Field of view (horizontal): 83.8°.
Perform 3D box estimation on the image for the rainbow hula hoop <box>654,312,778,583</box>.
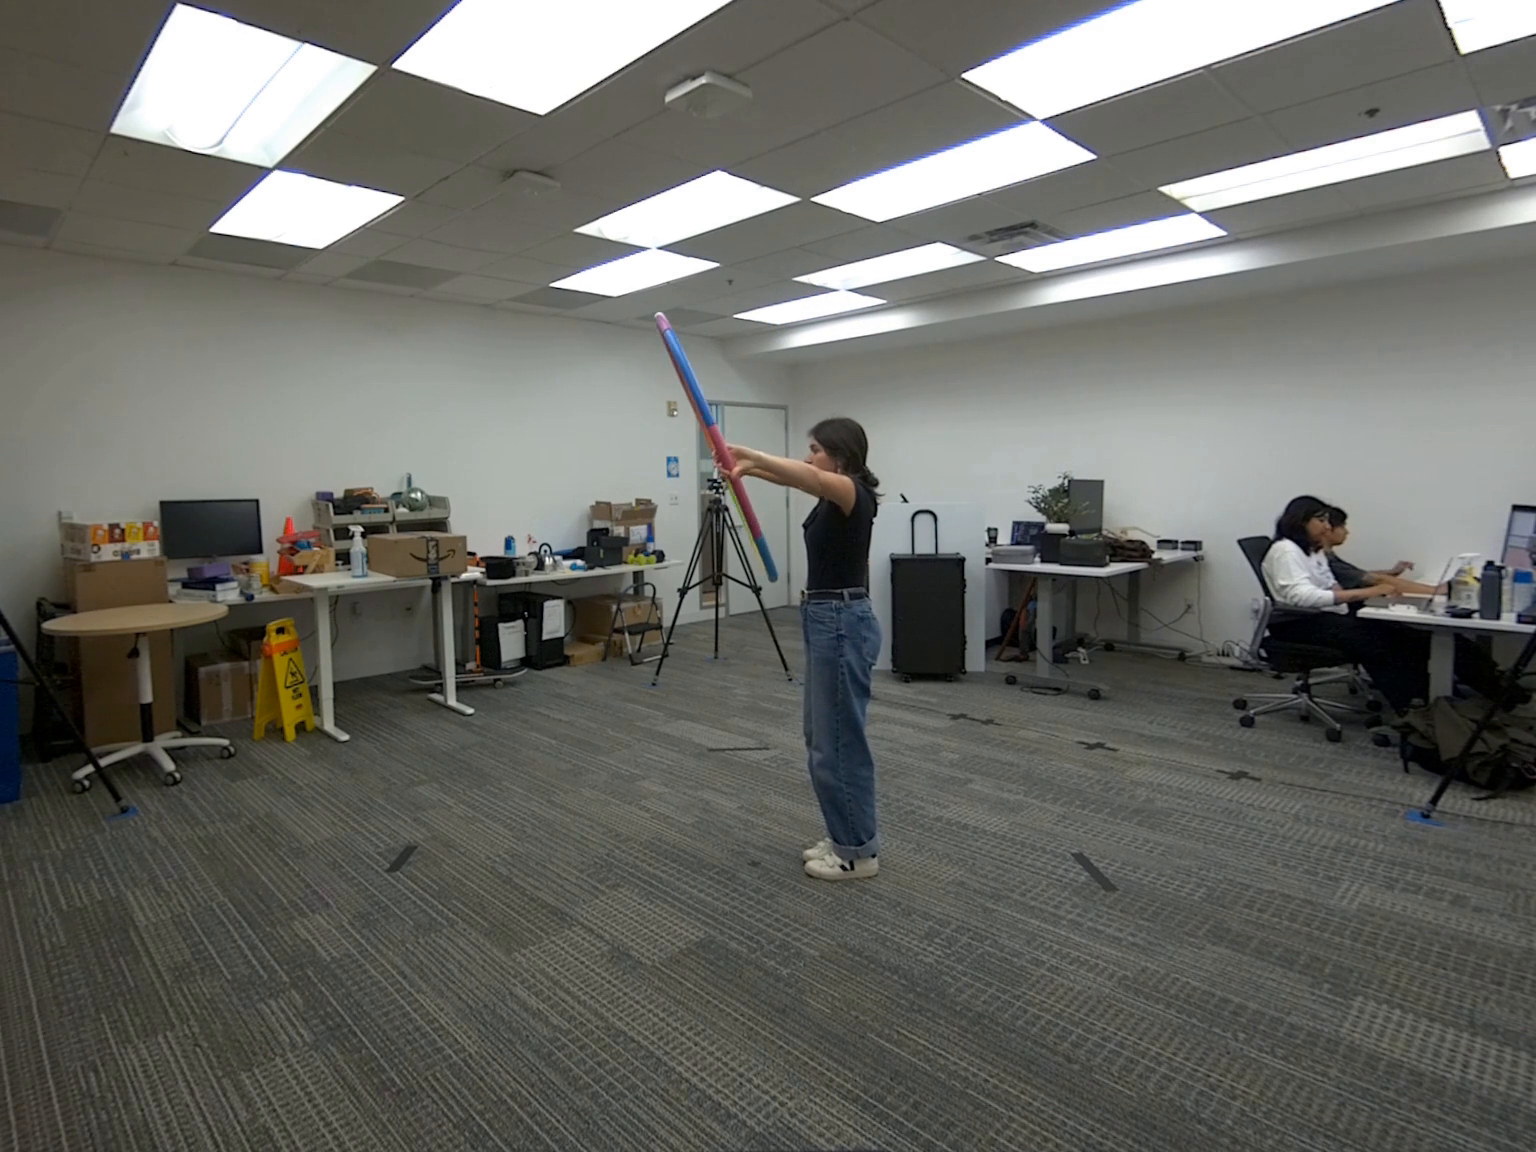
[{"bbox_3d":[-0.171,-0.430,2.924,0.035,0.975,0.982,-23,5,1],"label":"rainbow hula hoop"}]
